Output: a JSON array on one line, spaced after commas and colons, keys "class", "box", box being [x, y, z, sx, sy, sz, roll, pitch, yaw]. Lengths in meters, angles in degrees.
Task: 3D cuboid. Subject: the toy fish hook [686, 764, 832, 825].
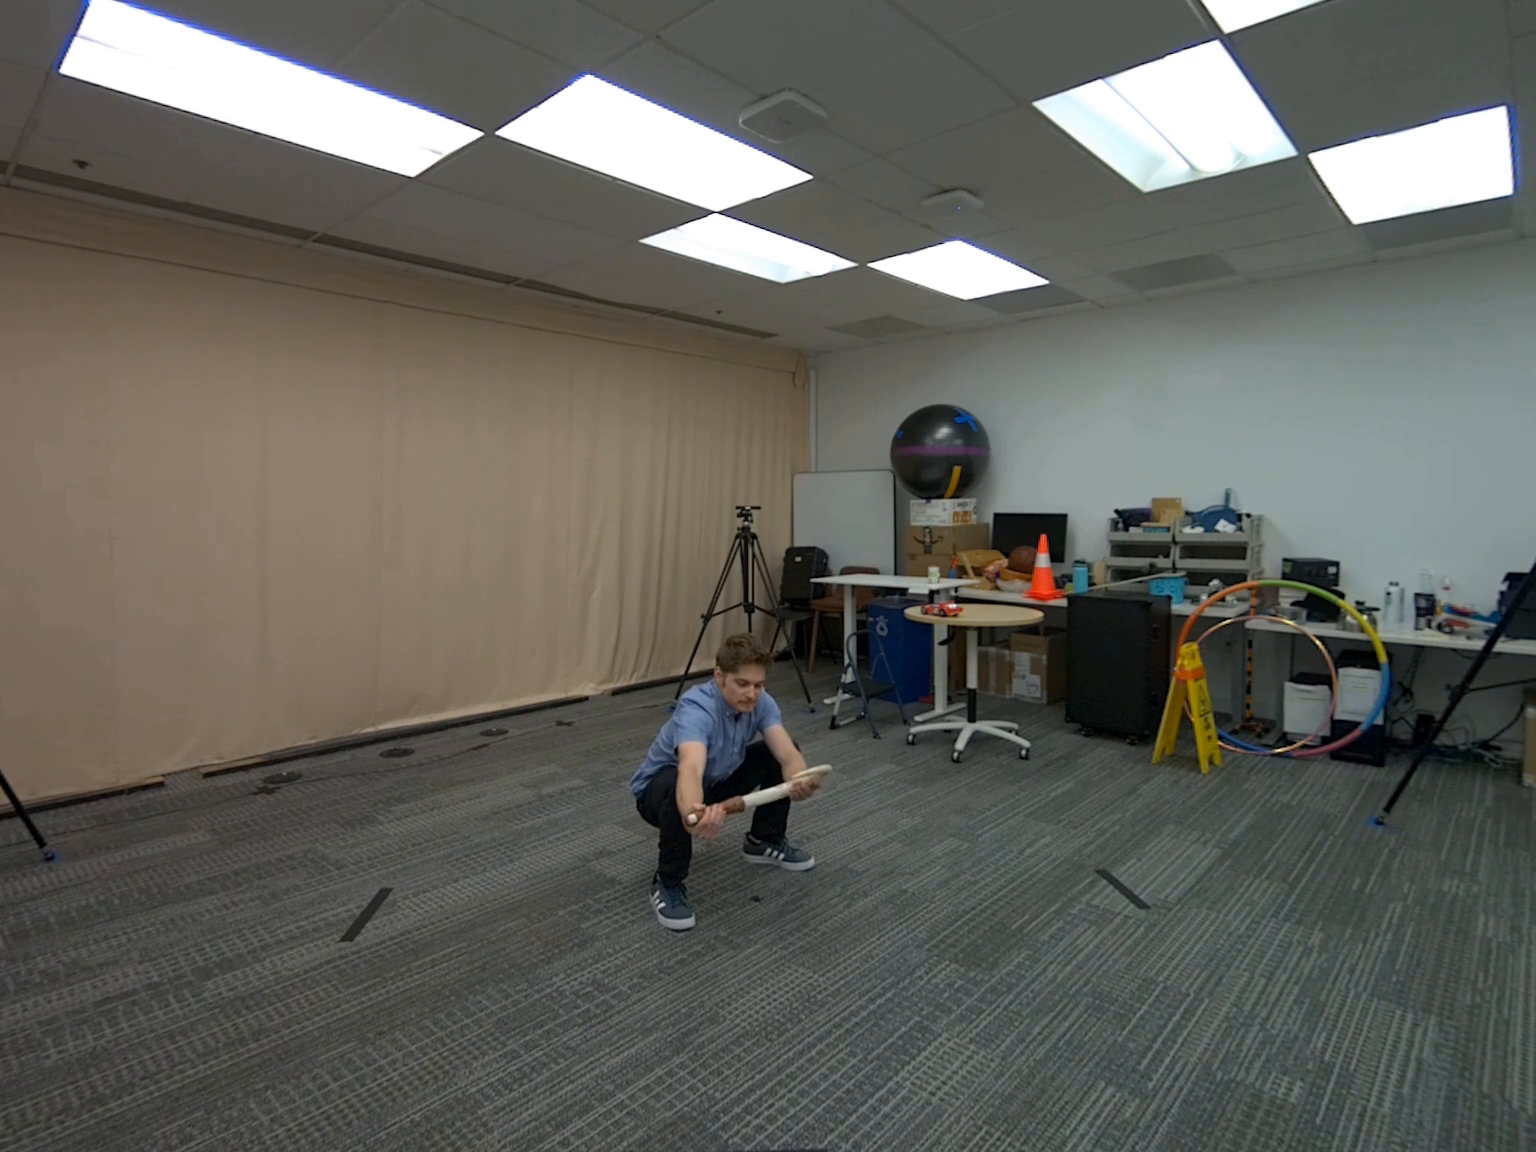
[{"class": "toy fish hook", "box": [-0.004, 0.633, 2.460, 0.491, 0.049, 0.227, -4, -30, -45]}]
